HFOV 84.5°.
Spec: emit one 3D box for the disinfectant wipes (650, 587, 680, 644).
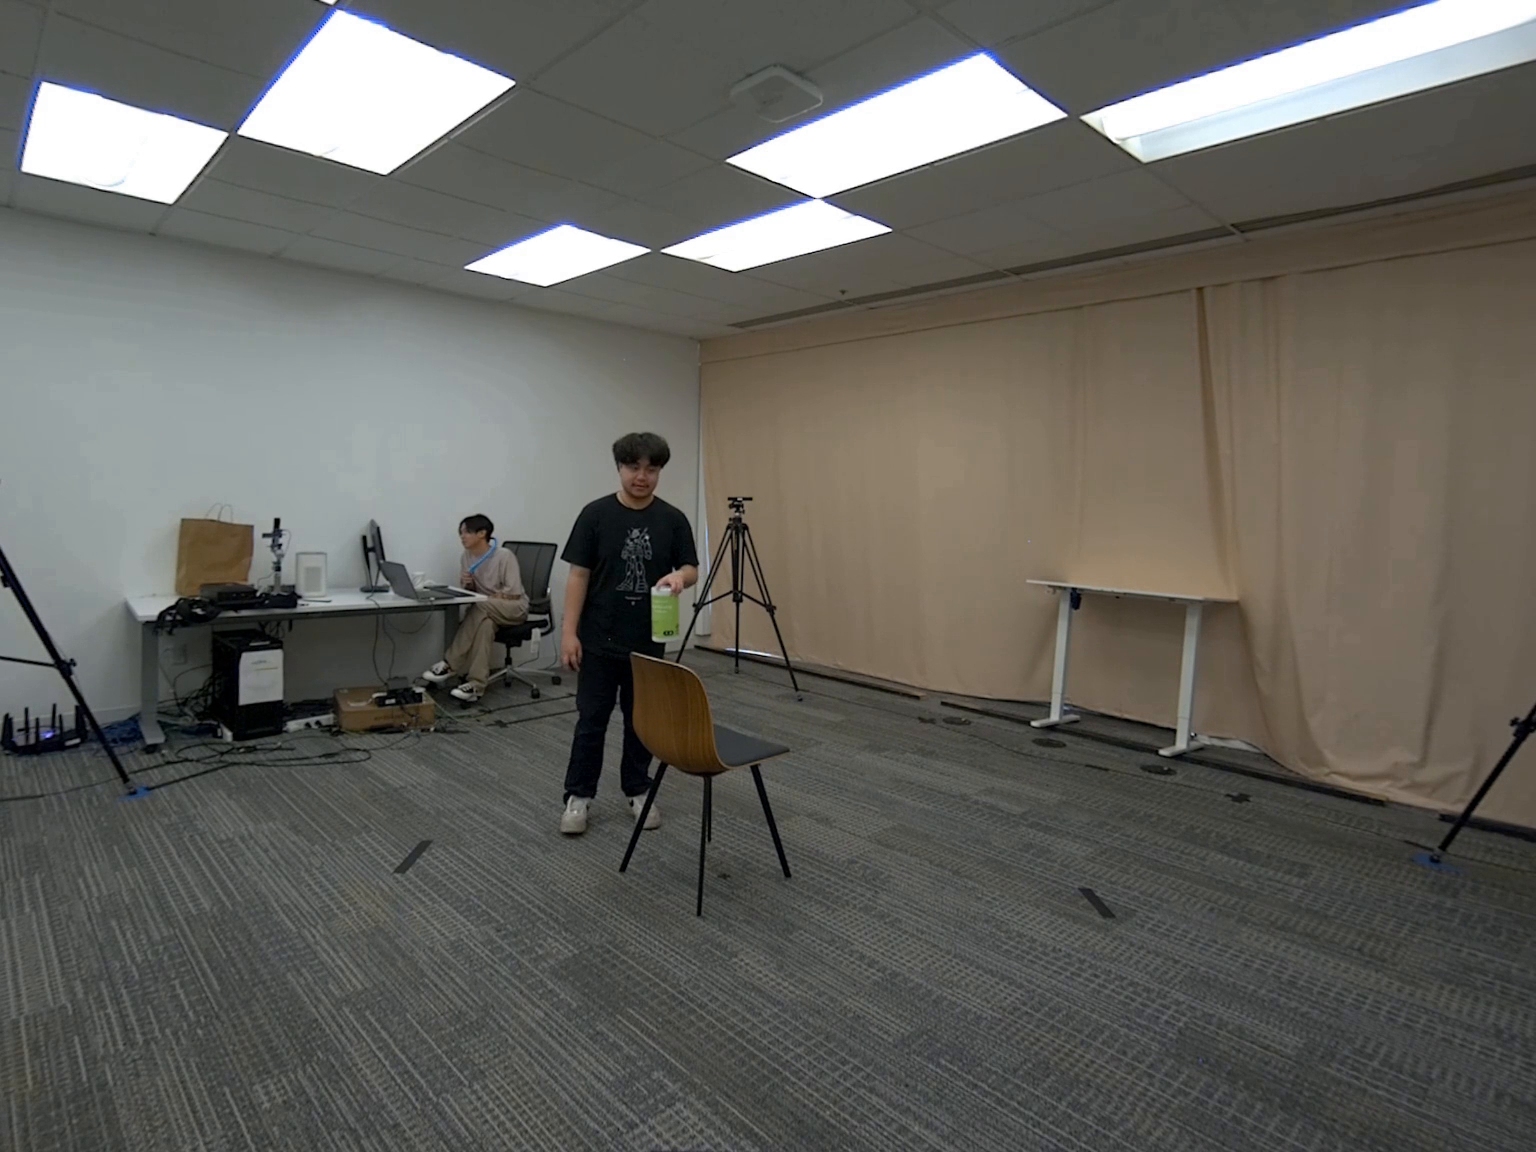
[{"bbox_3d":[-0.421,0.149,3.344,0.118,0.217,0.118,1,4,-1],"label":"disinfectant wipes"}]
